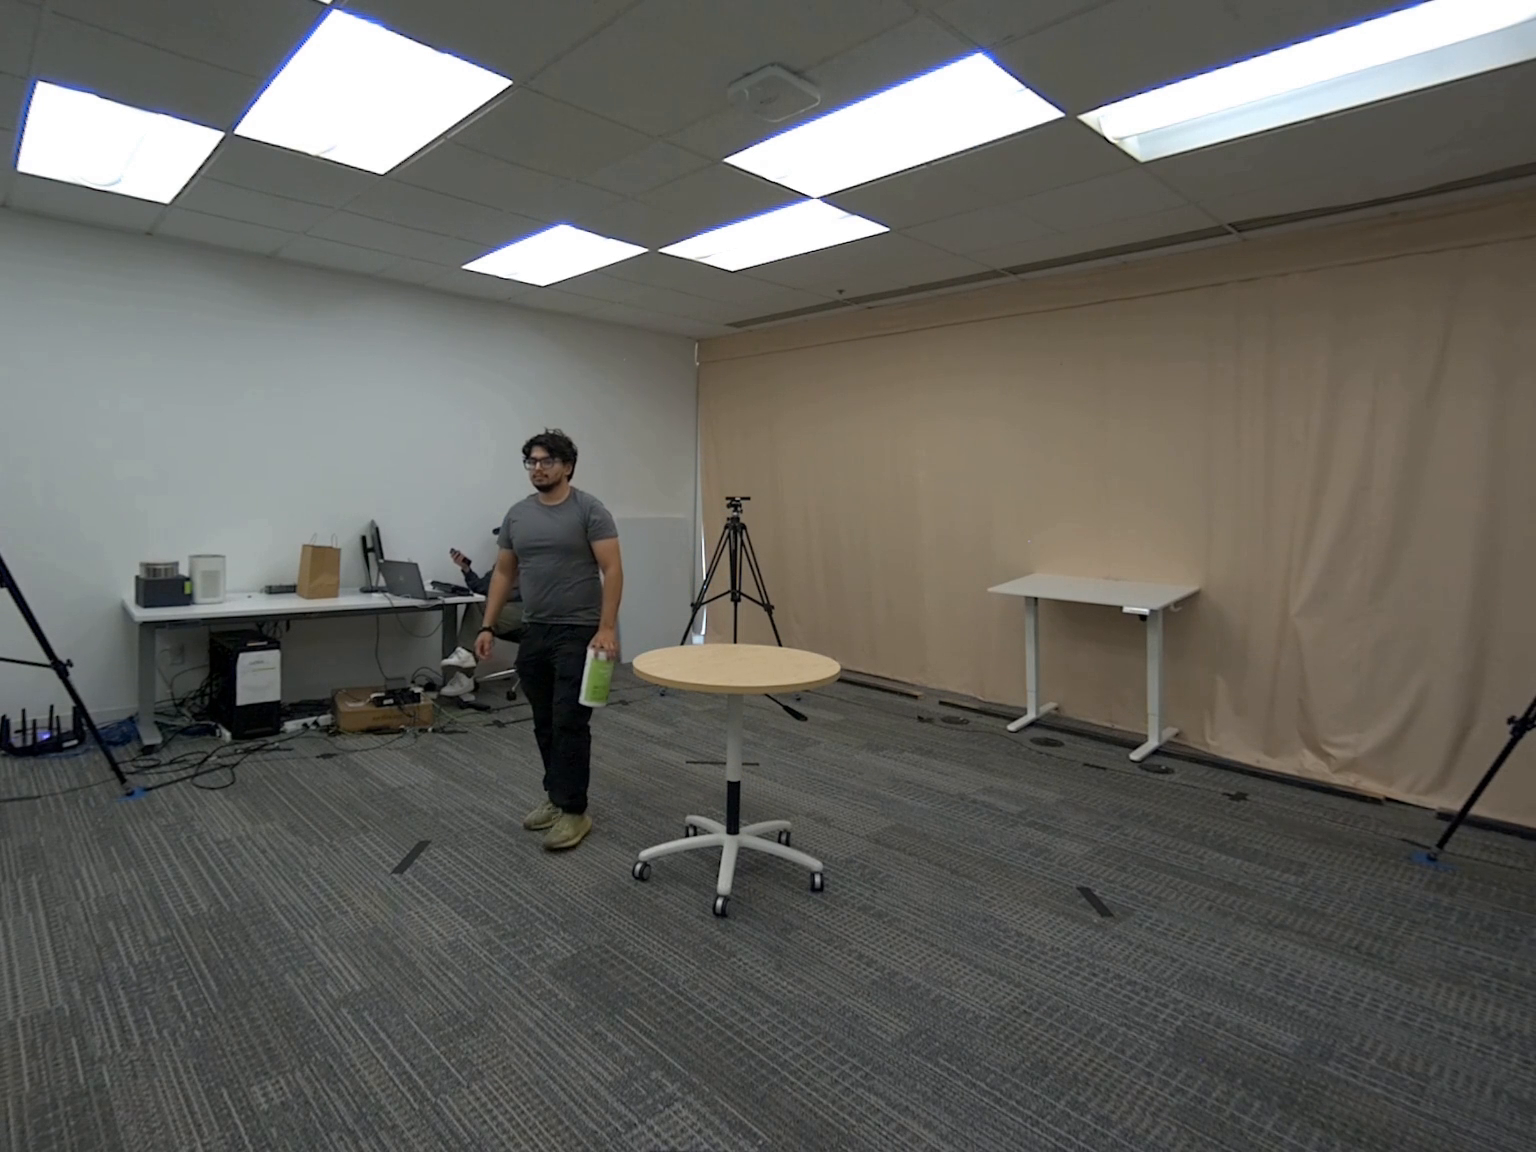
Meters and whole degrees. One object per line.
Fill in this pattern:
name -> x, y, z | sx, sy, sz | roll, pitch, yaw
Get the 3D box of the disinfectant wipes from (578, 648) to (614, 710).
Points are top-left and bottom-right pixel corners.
disinfectant wipes -> -0.664, 0.395, 3.288 | 0.118, 0.217, 0.118 | 10, 1, -2
